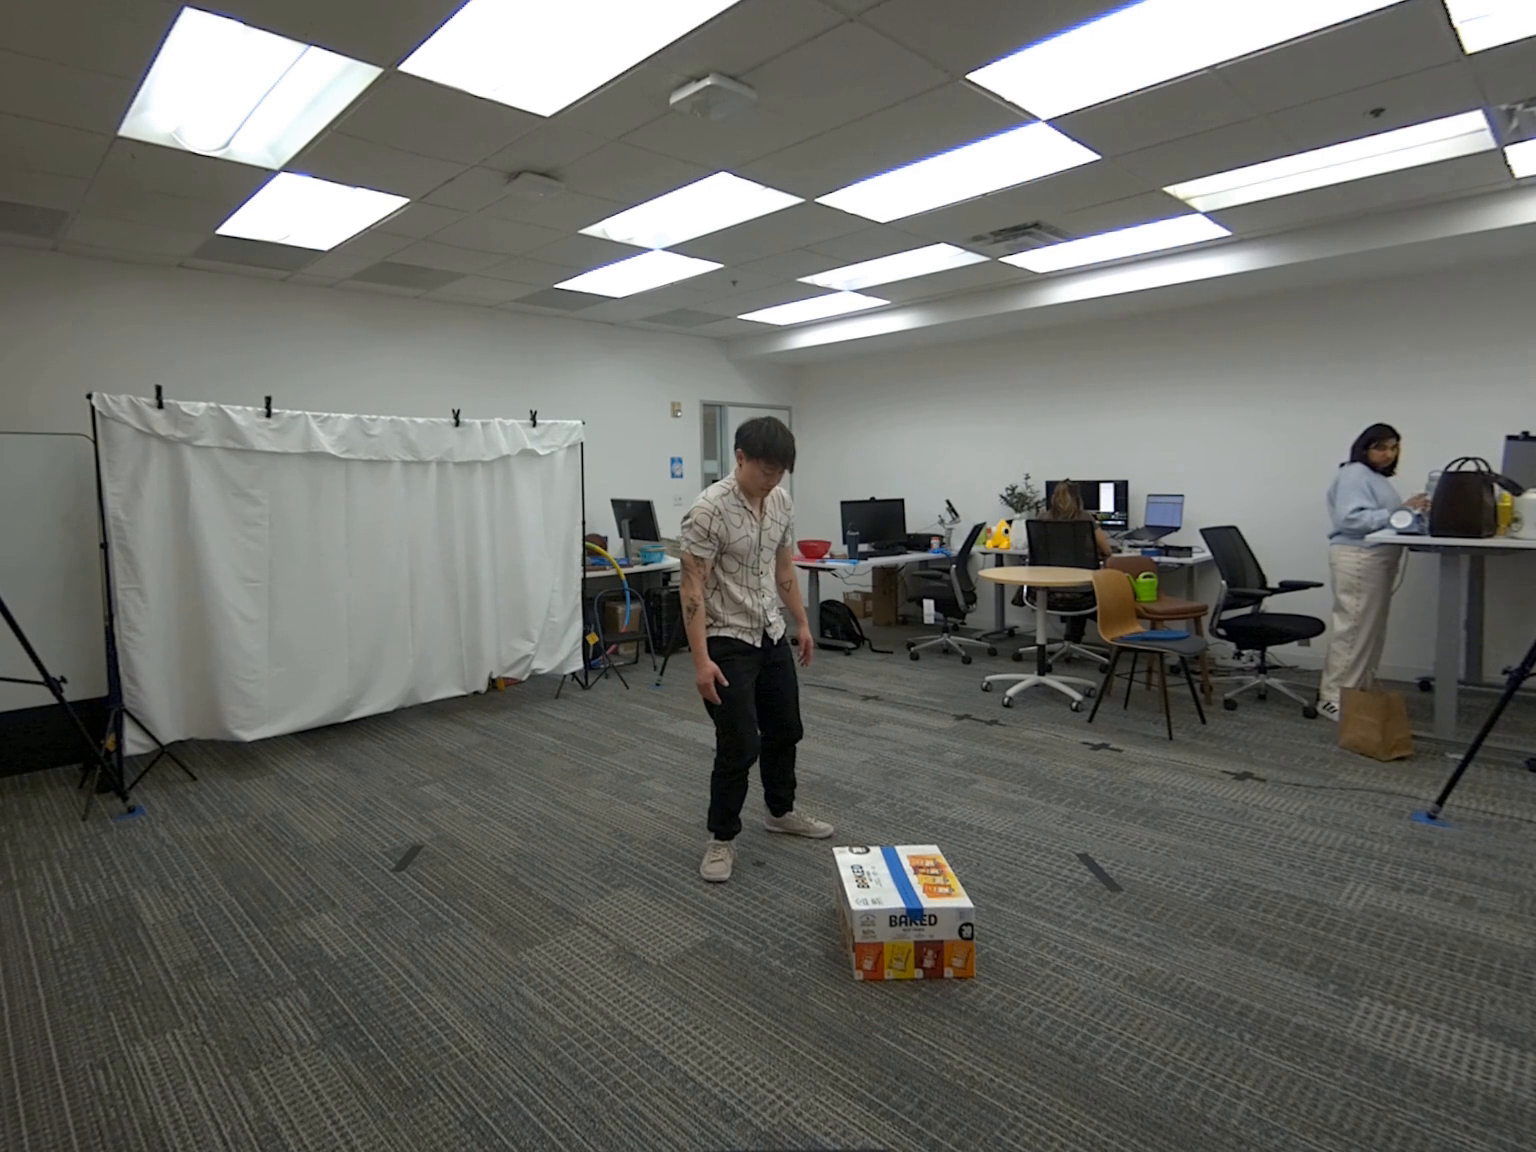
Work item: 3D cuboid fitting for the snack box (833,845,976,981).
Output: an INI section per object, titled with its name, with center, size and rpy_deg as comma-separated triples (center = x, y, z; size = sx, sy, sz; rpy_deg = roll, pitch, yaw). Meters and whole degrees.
[snack box]
center = 0.398, 1.001, 2.566
size = 0.340, 0.205, 0.408
rpy_deg = -1, 6, -2
